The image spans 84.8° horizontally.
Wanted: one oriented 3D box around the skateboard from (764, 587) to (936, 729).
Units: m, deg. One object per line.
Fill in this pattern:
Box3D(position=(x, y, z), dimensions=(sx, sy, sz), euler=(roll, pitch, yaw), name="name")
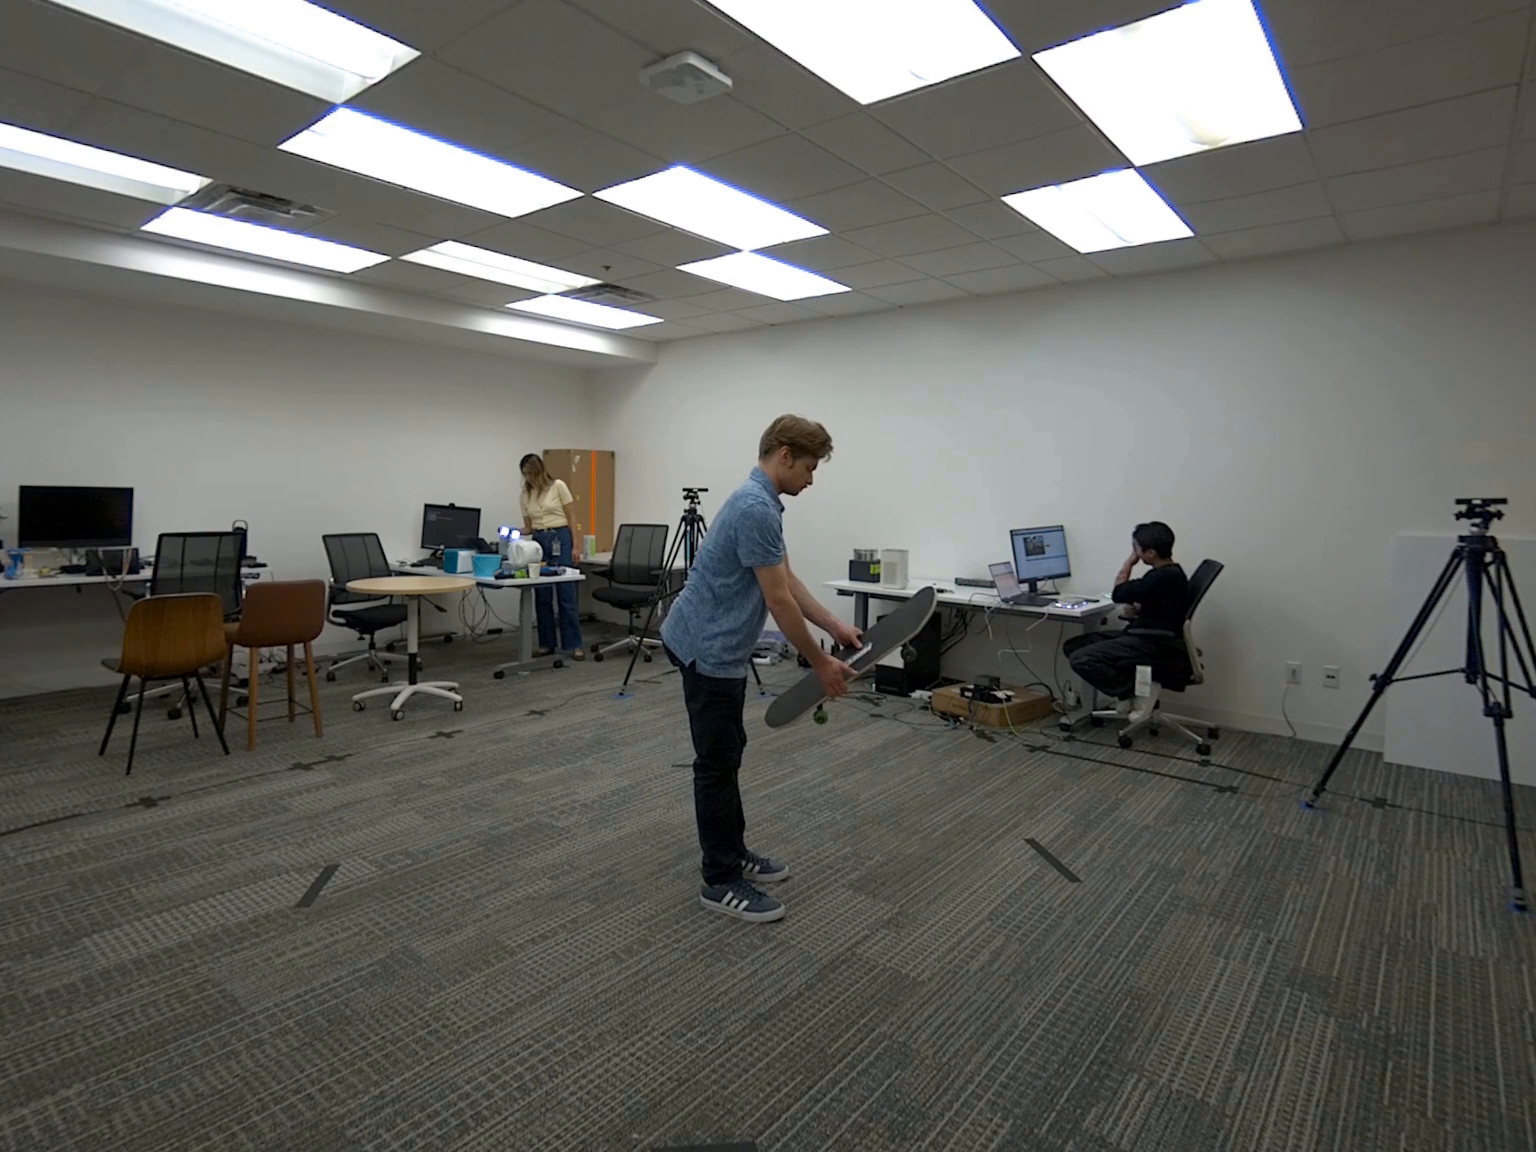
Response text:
Box3D(position=(0.295, 0.323, 2.932), dimensions=(0.788, 0.107, 0.198), euler=(-40, 21, 22), name="skateboard")
